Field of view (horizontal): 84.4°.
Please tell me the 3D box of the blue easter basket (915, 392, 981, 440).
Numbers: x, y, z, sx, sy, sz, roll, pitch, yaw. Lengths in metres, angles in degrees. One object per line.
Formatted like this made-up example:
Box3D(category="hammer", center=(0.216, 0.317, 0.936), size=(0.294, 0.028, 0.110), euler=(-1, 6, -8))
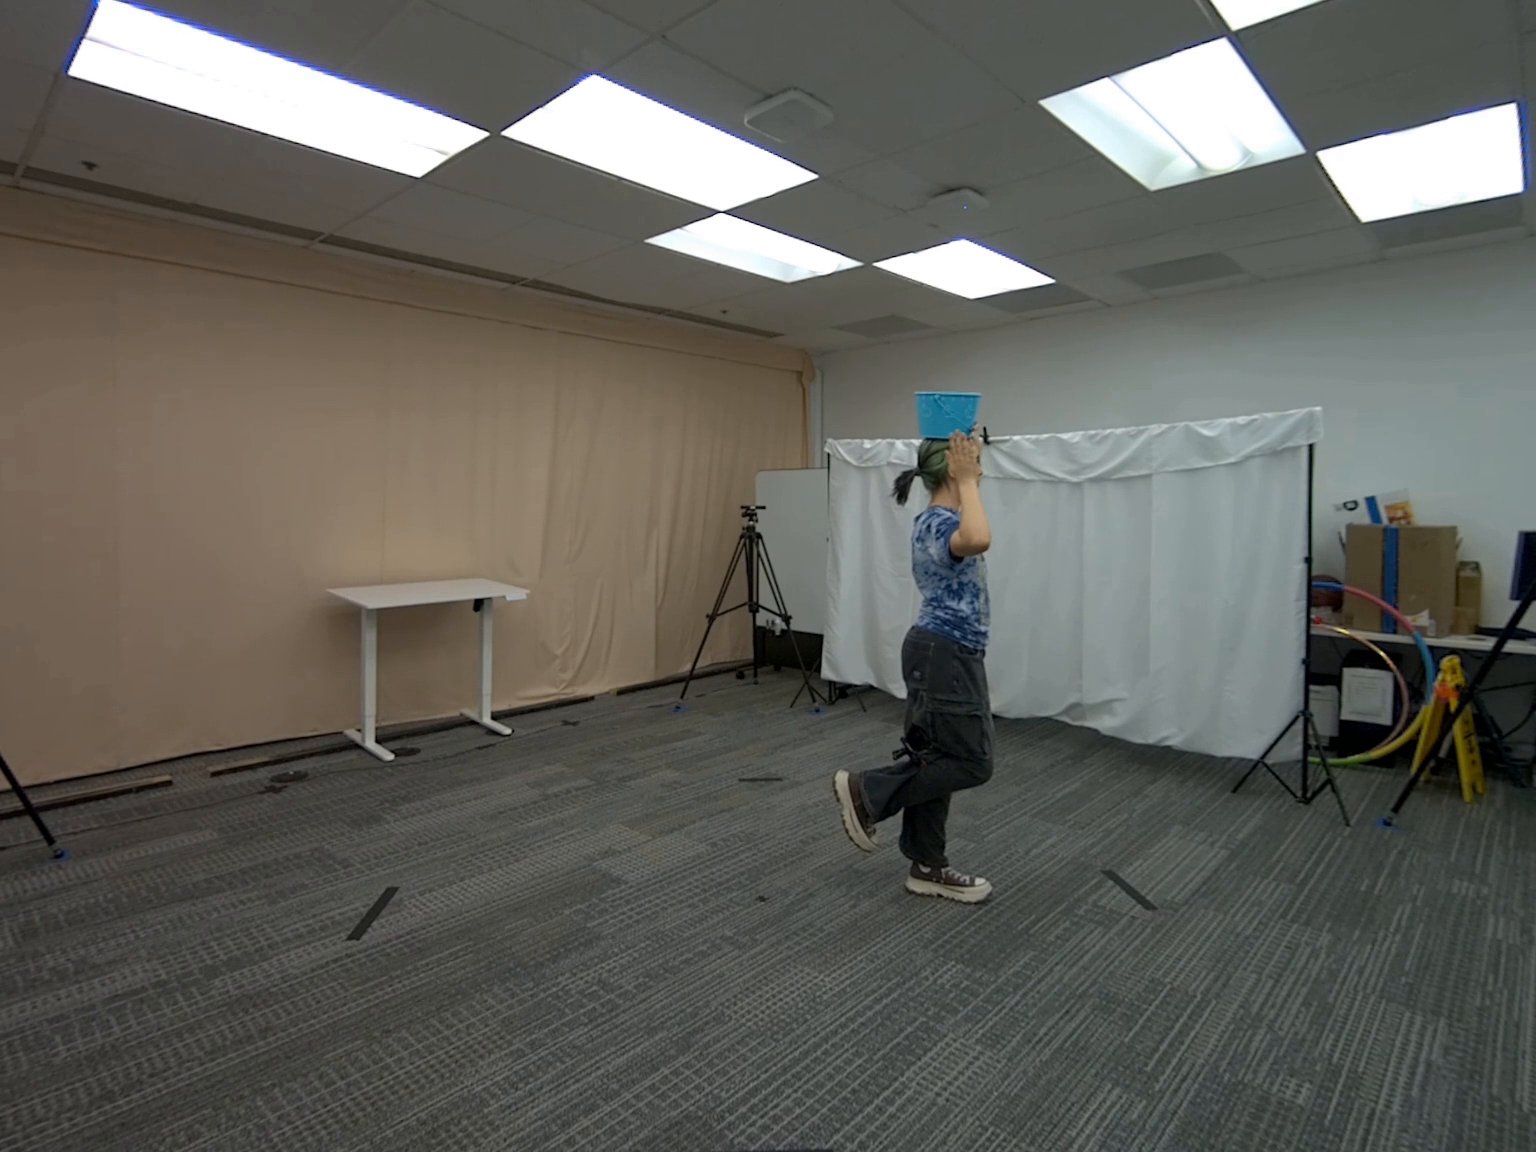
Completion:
Box3D(category="blue easter basket", center=(0.642, -0.564, 2.967), size=(0.243, 0.155, 0.245), euler=(1, 12, -2))
